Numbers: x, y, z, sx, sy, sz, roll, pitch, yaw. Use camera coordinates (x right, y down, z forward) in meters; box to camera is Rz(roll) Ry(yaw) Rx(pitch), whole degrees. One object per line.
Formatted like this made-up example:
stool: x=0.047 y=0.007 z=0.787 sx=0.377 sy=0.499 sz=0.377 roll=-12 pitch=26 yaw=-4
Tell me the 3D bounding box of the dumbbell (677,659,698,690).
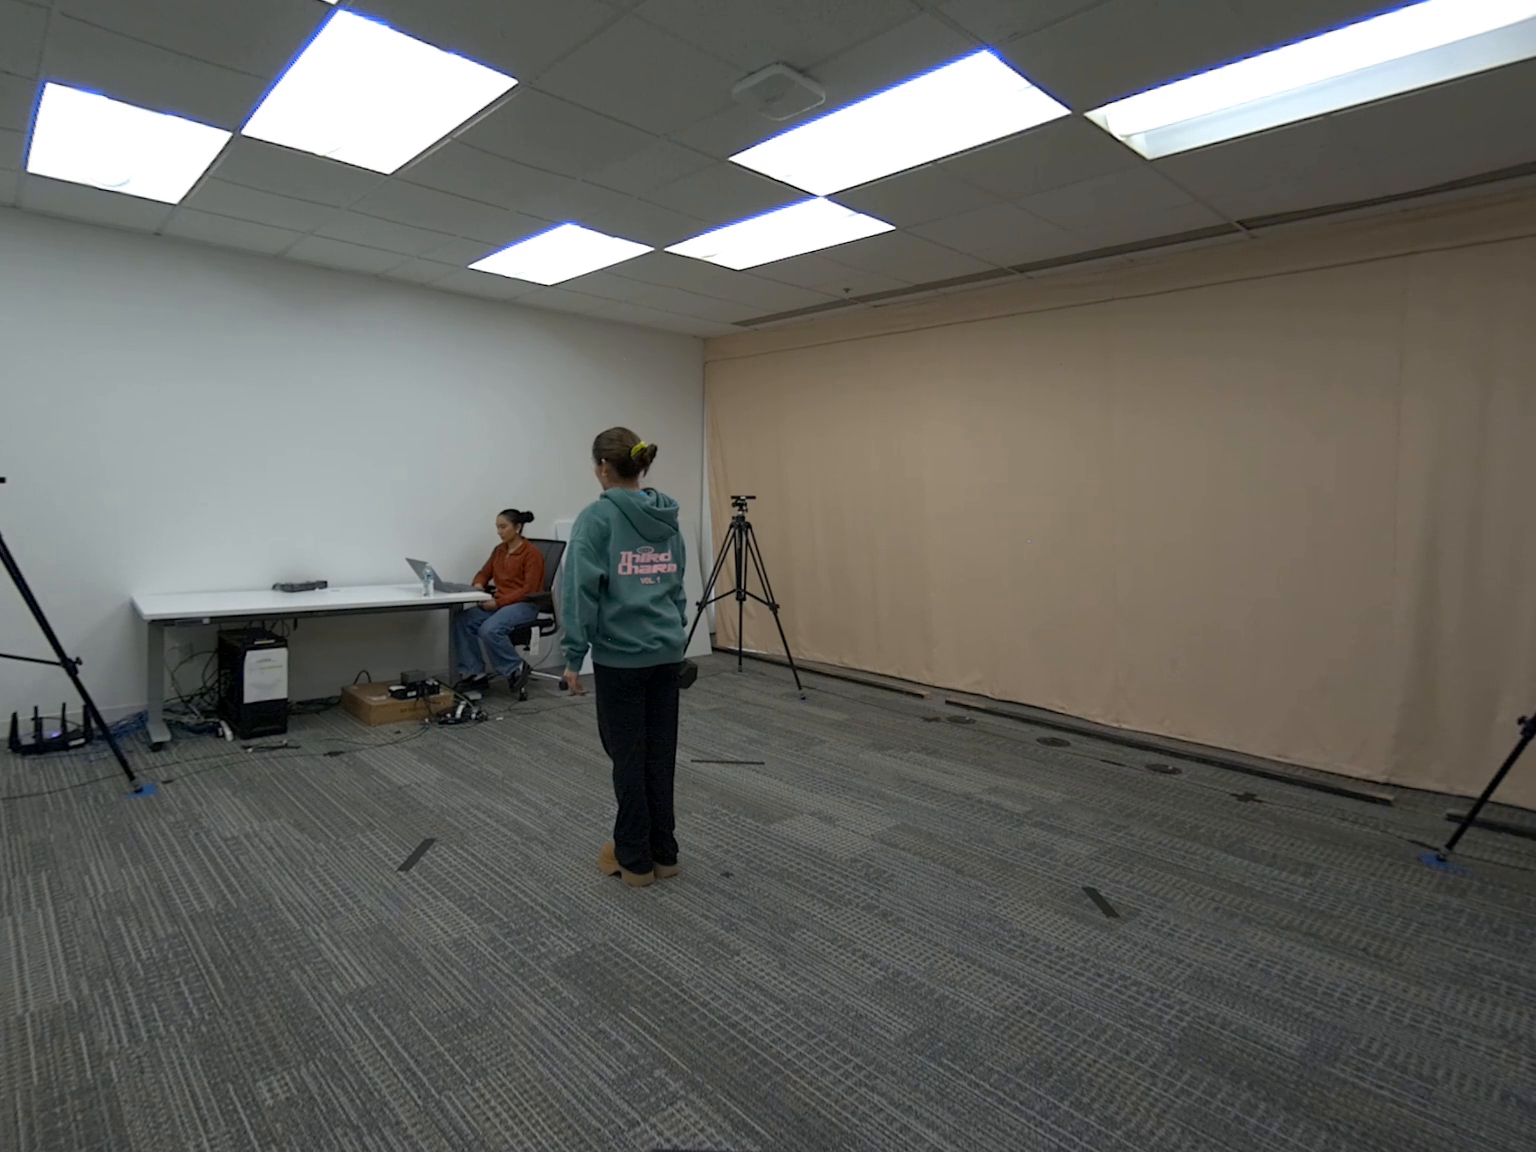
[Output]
dumbbell: x=-0.414 y=0.336 z=3.300 sx=0.302 sy=0.105 sz=0.123 roll=26 pitch=61 yaw=35
